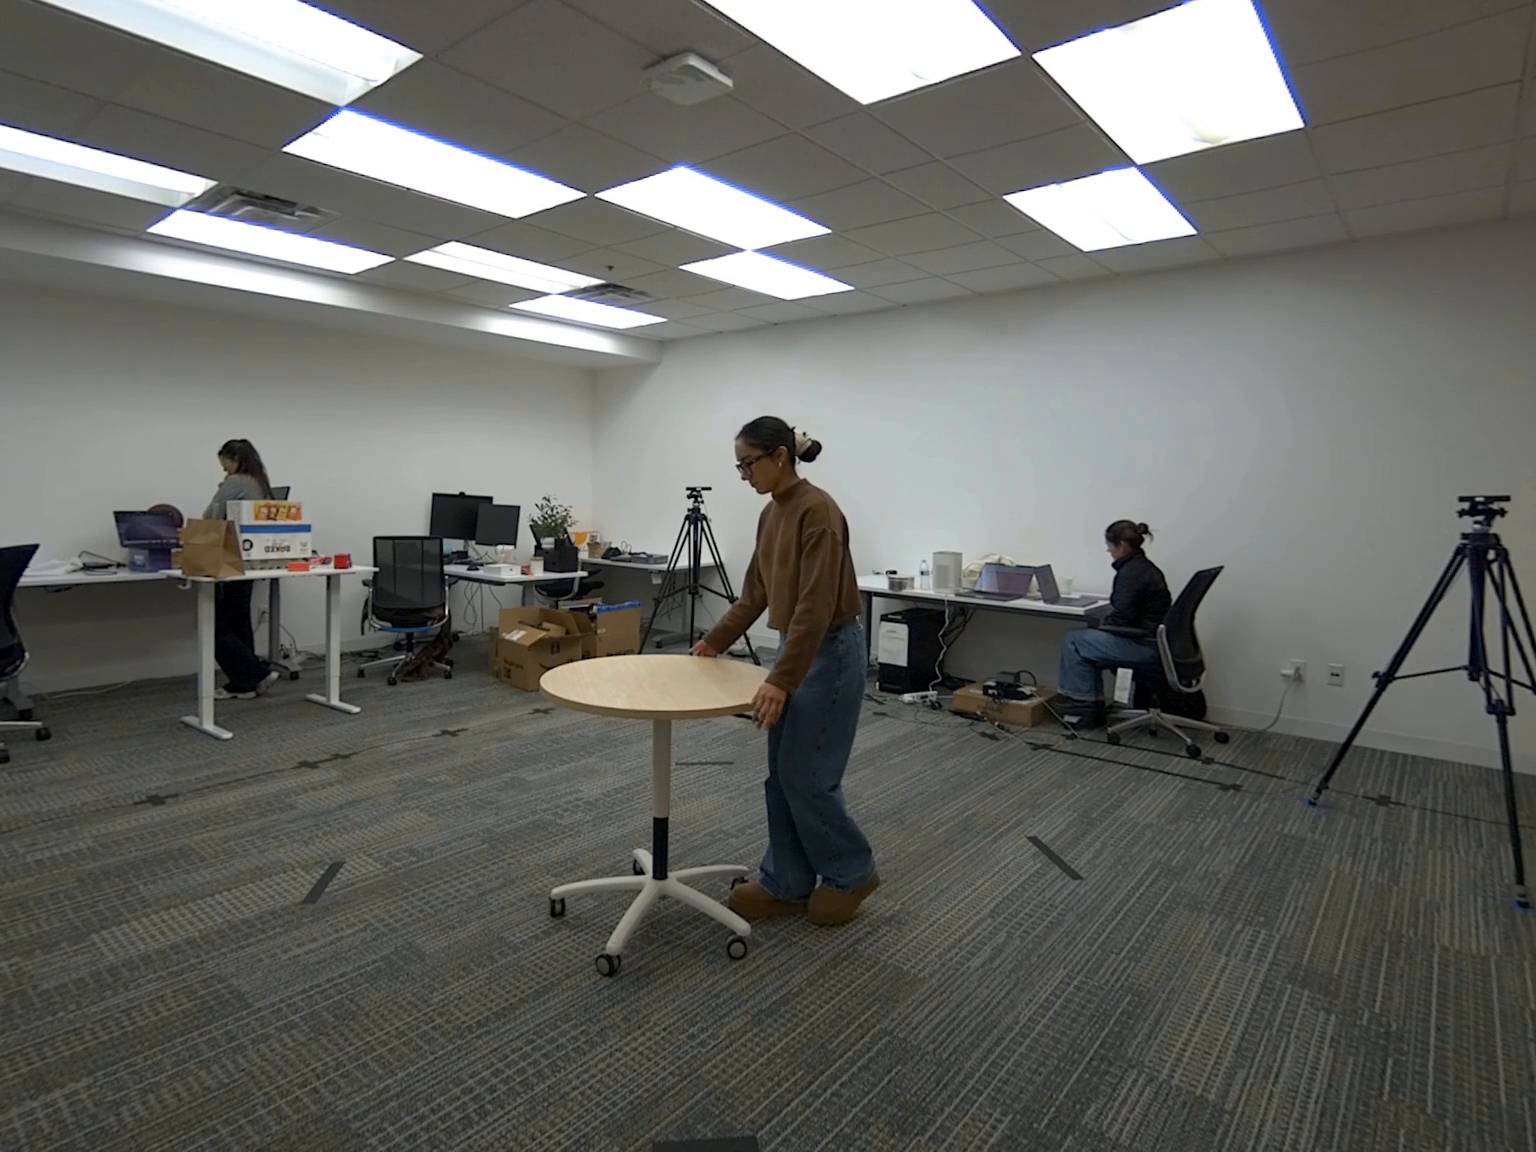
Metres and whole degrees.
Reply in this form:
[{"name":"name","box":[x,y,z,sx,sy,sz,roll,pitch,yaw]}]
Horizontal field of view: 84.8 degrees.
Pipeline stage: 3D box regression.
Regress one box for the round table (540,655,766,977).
[{"name":"round table","box":[-0.365,0.711,2.704,0.784,0.783,0.789,1,5,-2]}]
